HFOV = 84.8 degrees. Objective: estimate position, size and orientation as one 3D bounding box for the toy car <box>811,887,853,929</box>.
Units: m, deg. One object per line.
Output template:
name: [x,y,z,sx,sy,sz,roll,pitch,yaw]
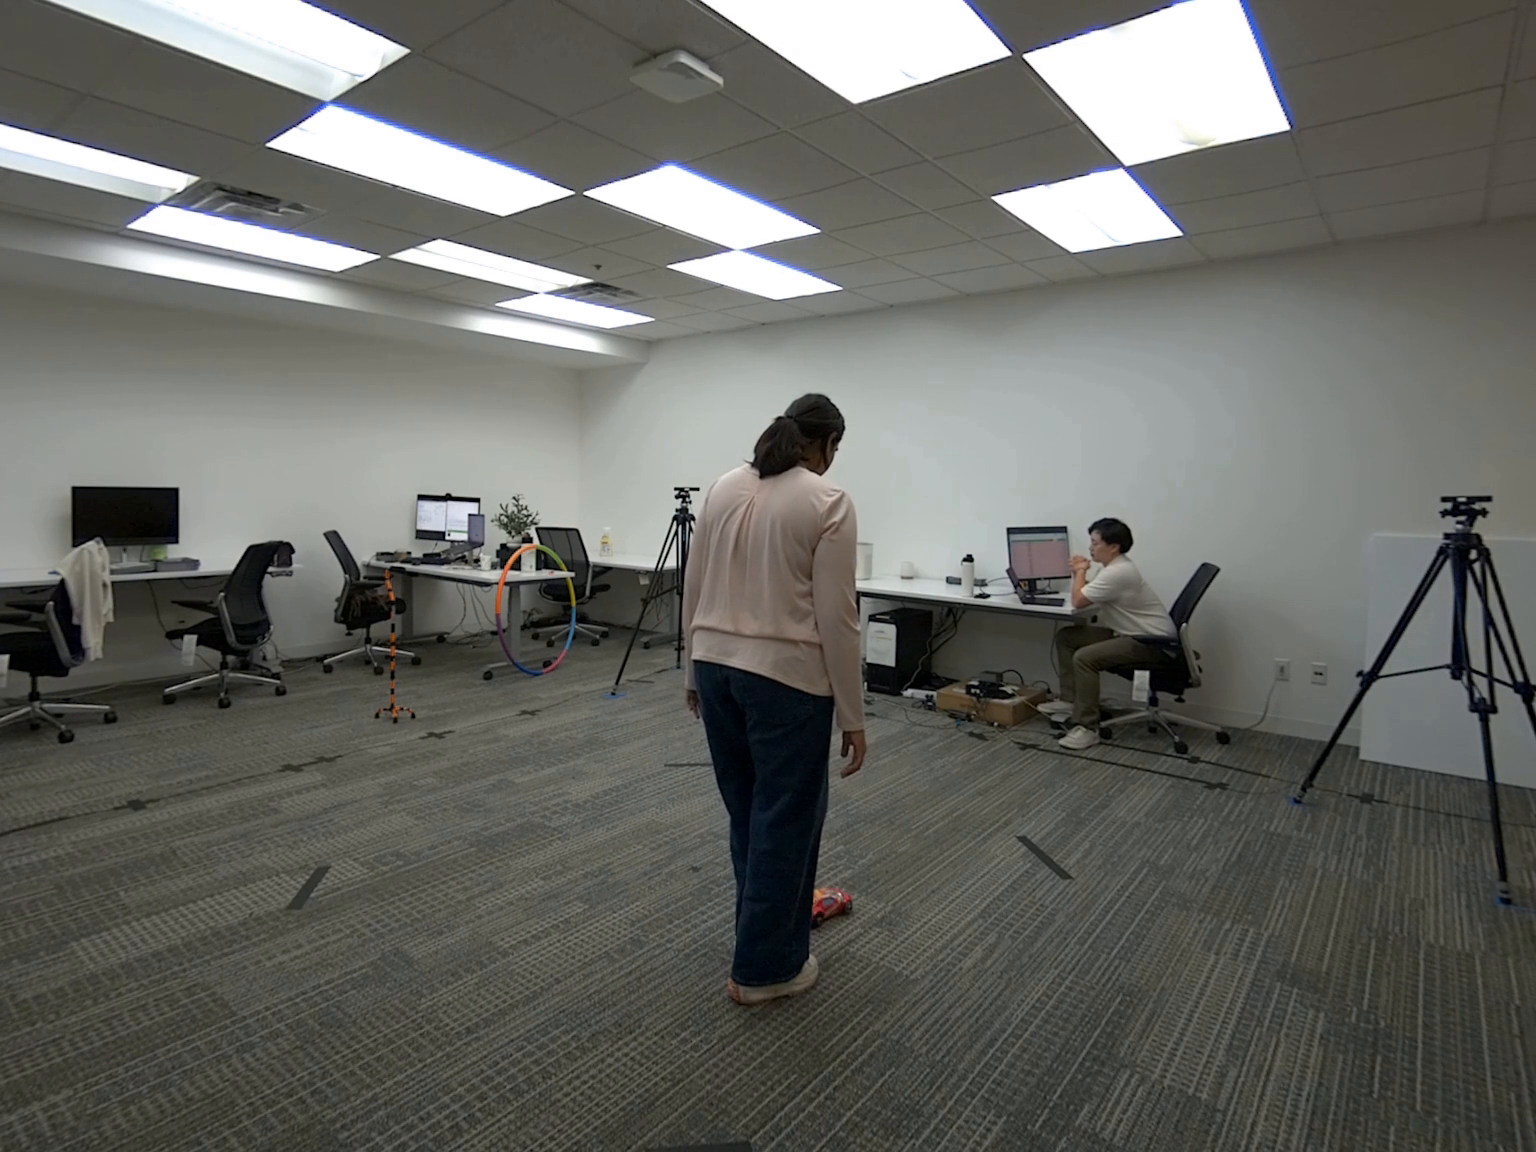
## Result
toy car: [0.156,1.075,2.779,0.245,0.083,0.135,11,-3,-41]
